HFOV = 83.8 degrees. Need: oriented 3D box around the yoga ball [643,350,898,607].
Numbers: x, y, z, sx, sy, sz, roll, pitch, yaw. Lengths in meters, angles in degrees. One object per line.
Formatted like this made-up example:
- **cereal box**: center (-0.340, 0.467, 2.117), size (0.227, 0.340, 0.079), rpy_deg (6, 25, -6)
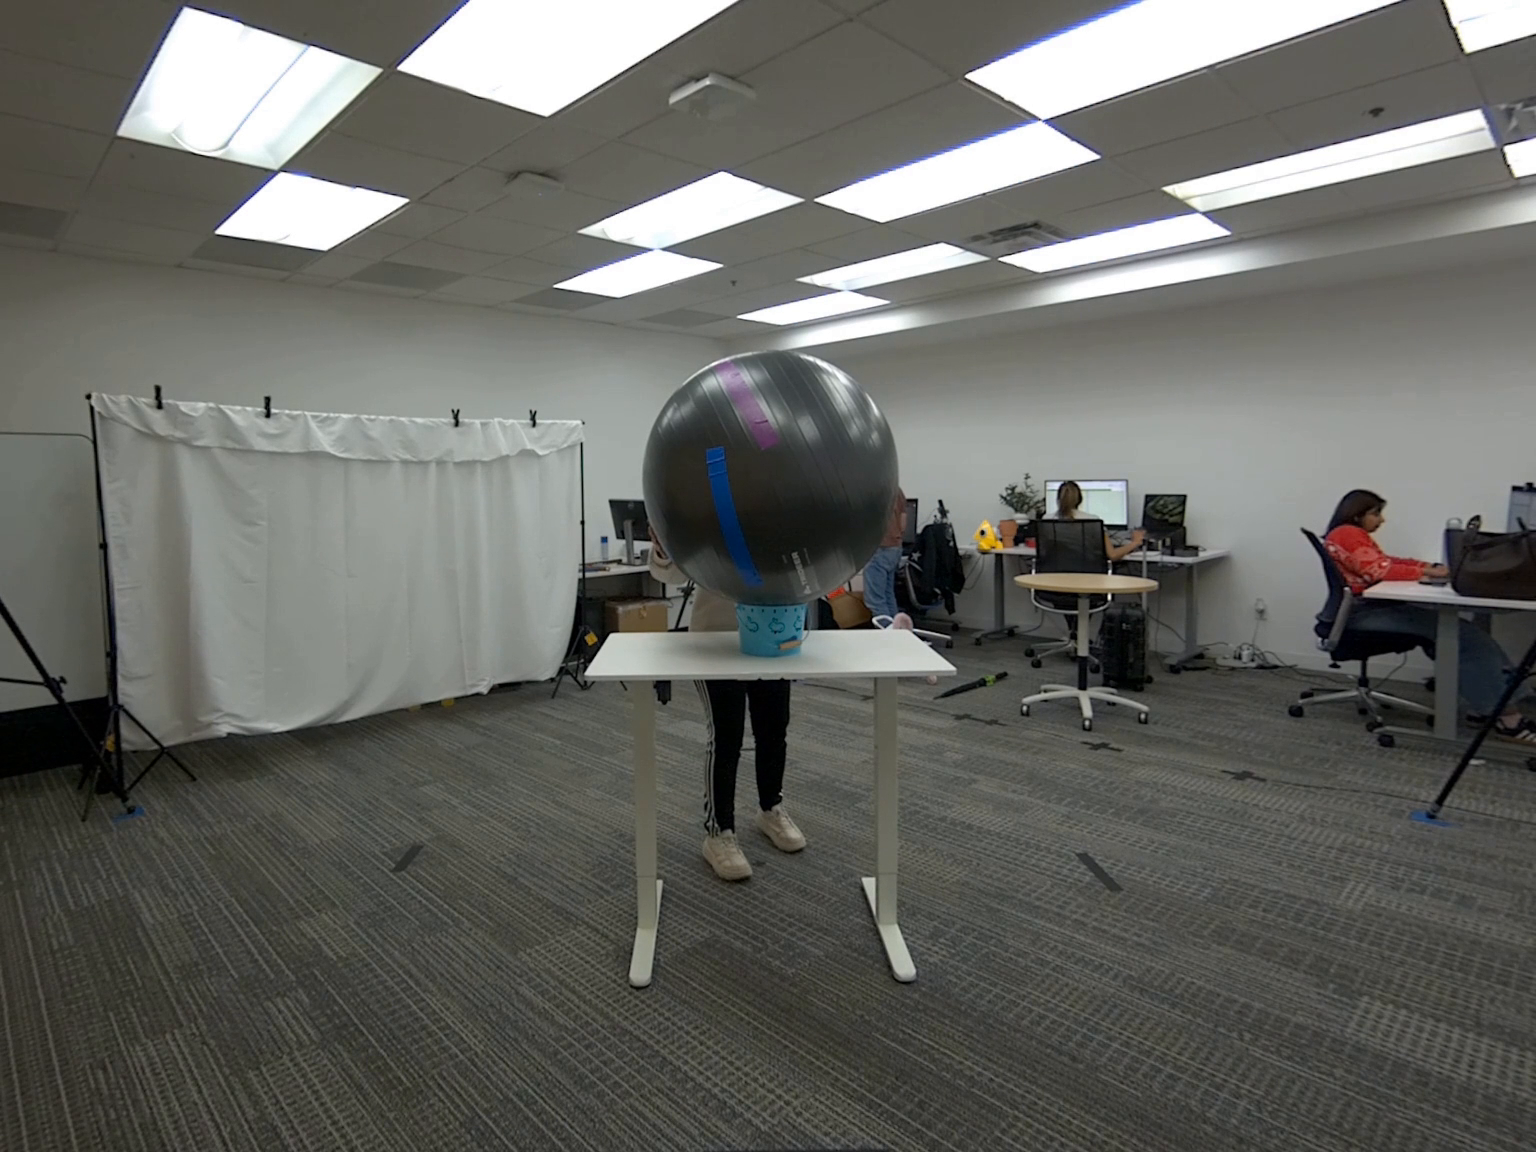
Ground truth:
- **yoga ball**: center (0.009, -0.284, 2.540), size (0.757, 0.755, 0.762), rpy_deg (-1, 5, -2)
